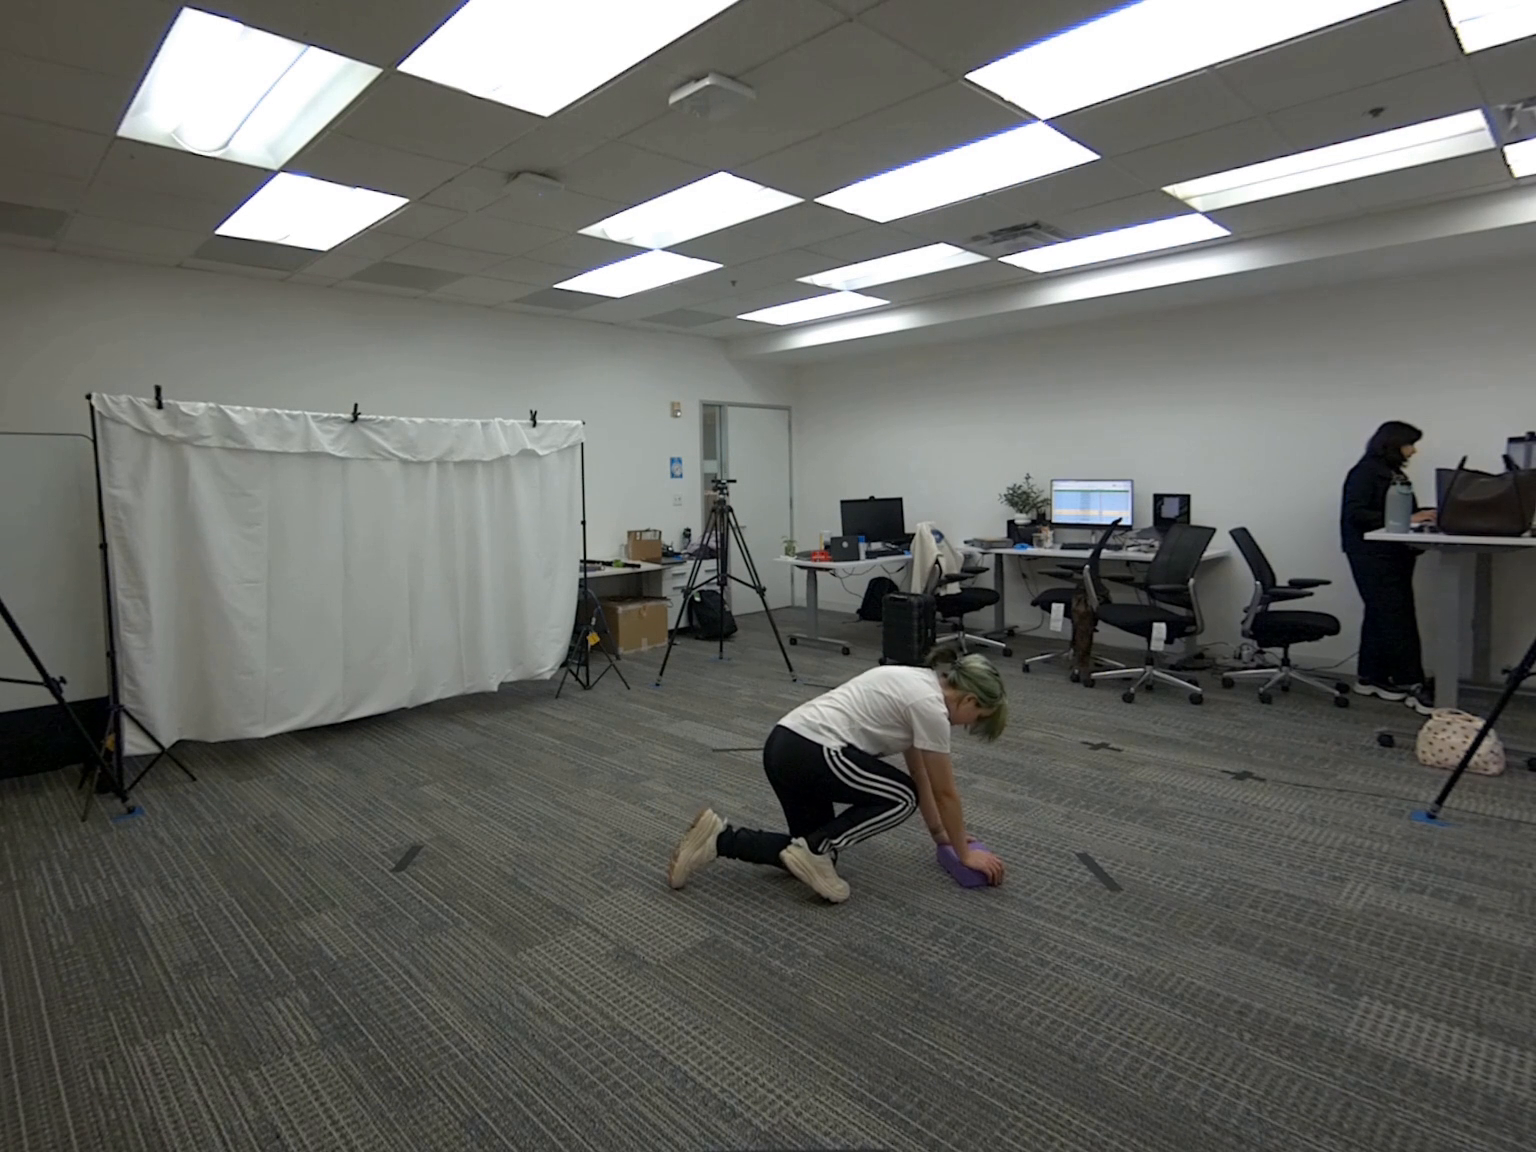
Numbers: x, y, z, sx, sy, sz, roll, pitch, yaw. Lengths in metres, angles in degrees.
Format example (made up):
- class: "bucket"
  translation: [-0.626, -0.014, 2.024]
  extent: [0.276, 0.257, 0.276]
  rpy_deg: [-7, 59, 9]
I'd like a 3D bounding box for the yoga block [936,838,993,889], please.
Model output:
- class: "yoga block"
  translation: [0.705, 1.003, 3.007]
  extent: [0.147, 0.076, 0.232]
  rpy_deg: [-2, 5, -11]
